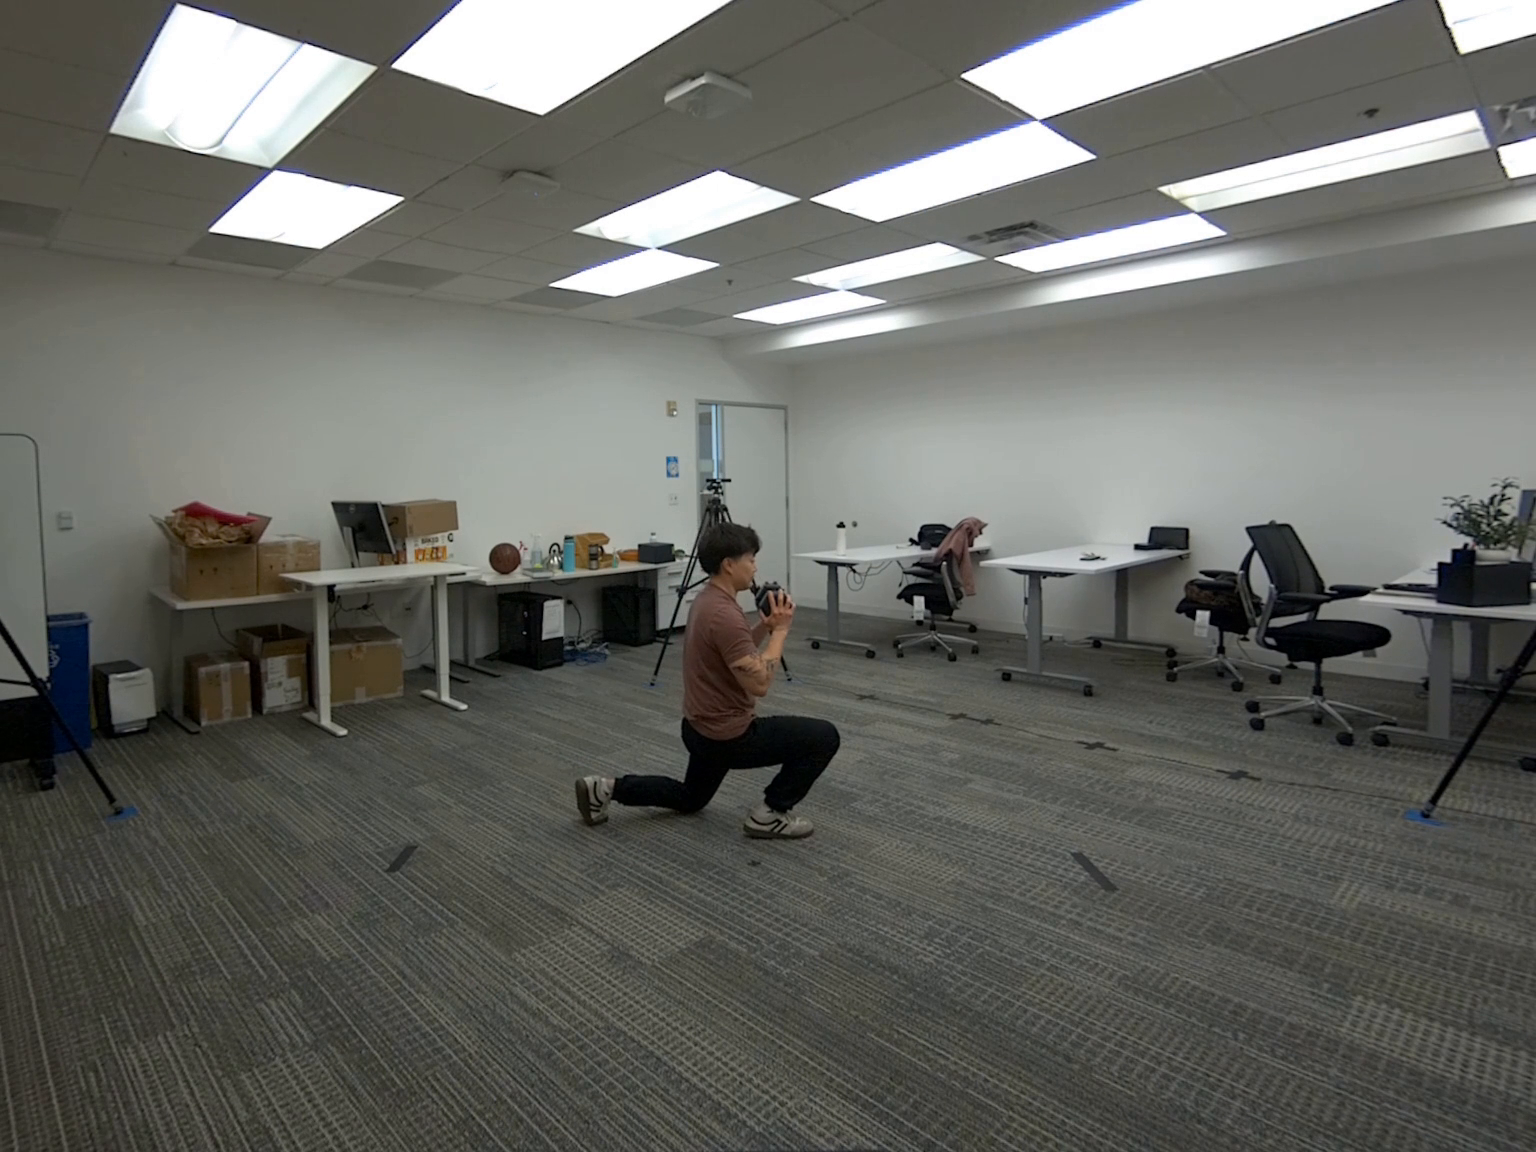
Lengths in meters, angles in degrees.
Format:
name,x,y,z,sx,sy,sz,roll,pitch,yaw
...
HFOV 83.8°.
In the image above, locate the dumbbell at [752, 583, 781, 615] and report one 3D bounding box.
name,x,y,z,sx,sy,sz,roll,pitch,yaw
dumbbell,-0.004,0.097,3.370,0.123,0.108,0.294,-1,3,-2
